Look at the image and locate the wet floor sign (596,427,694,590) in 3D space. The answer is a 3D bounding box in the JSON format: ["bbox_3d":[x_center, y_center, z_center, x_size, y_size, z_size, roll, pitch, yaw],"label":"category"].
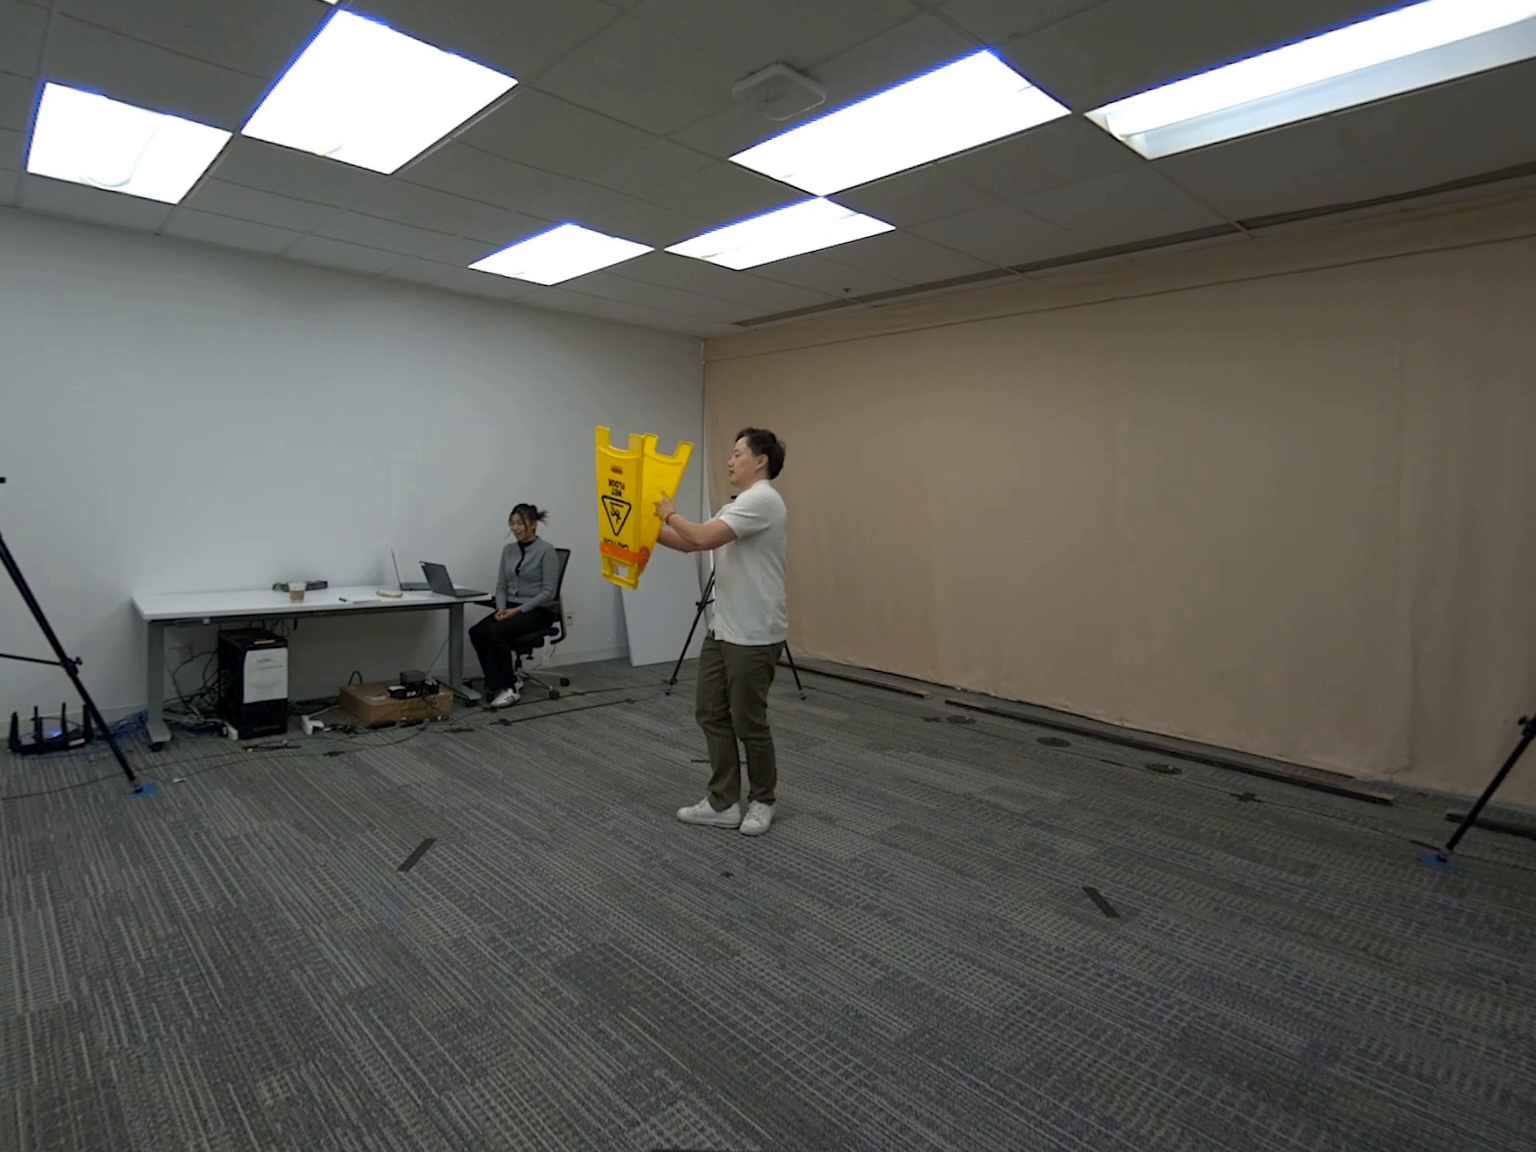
[{"bbox_3d":[-0.577,-0.273,3.527,0.290,0.643,0.283,18,11,37],"label":"wet floor sign"}]
